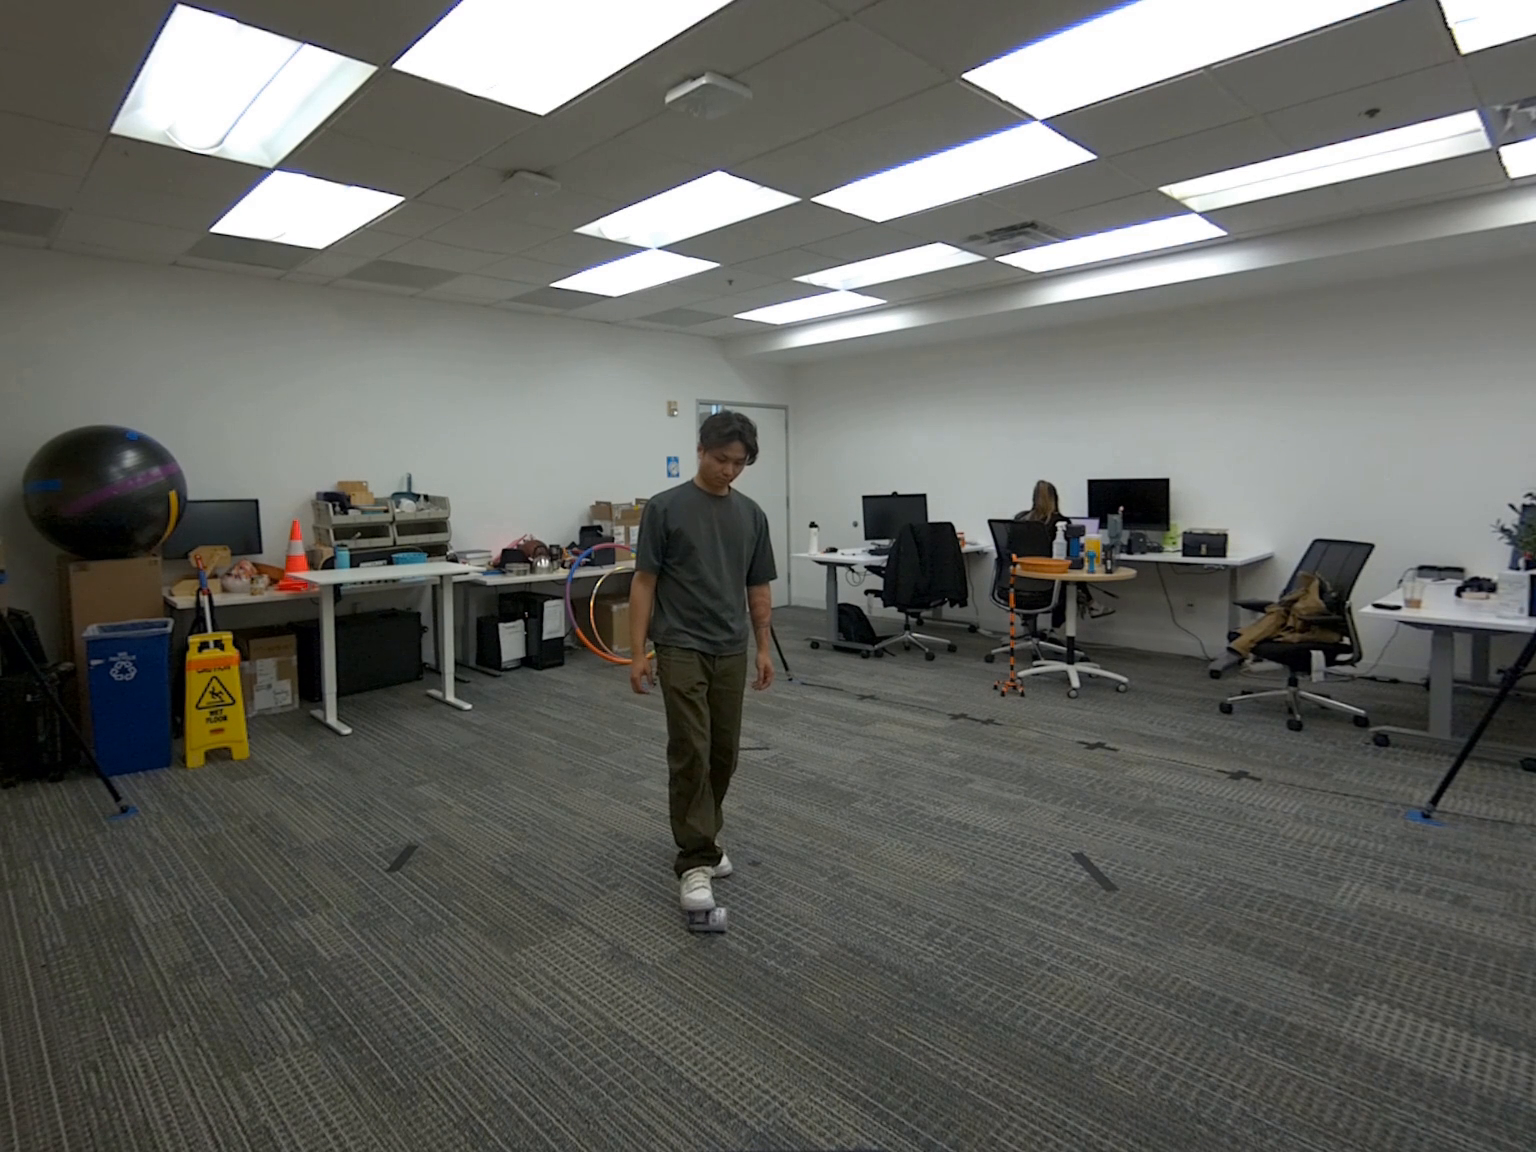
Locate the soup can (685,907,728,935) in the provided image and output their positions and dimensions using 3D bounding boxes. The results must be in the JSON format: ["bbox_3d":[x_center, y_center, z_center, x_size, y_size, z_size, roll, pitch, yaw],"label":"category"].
[{"bbox_3d":[-0.187,1.070,2.651,0.122,0.067,0.067,-3,5,6],"label":"soup can"}]
